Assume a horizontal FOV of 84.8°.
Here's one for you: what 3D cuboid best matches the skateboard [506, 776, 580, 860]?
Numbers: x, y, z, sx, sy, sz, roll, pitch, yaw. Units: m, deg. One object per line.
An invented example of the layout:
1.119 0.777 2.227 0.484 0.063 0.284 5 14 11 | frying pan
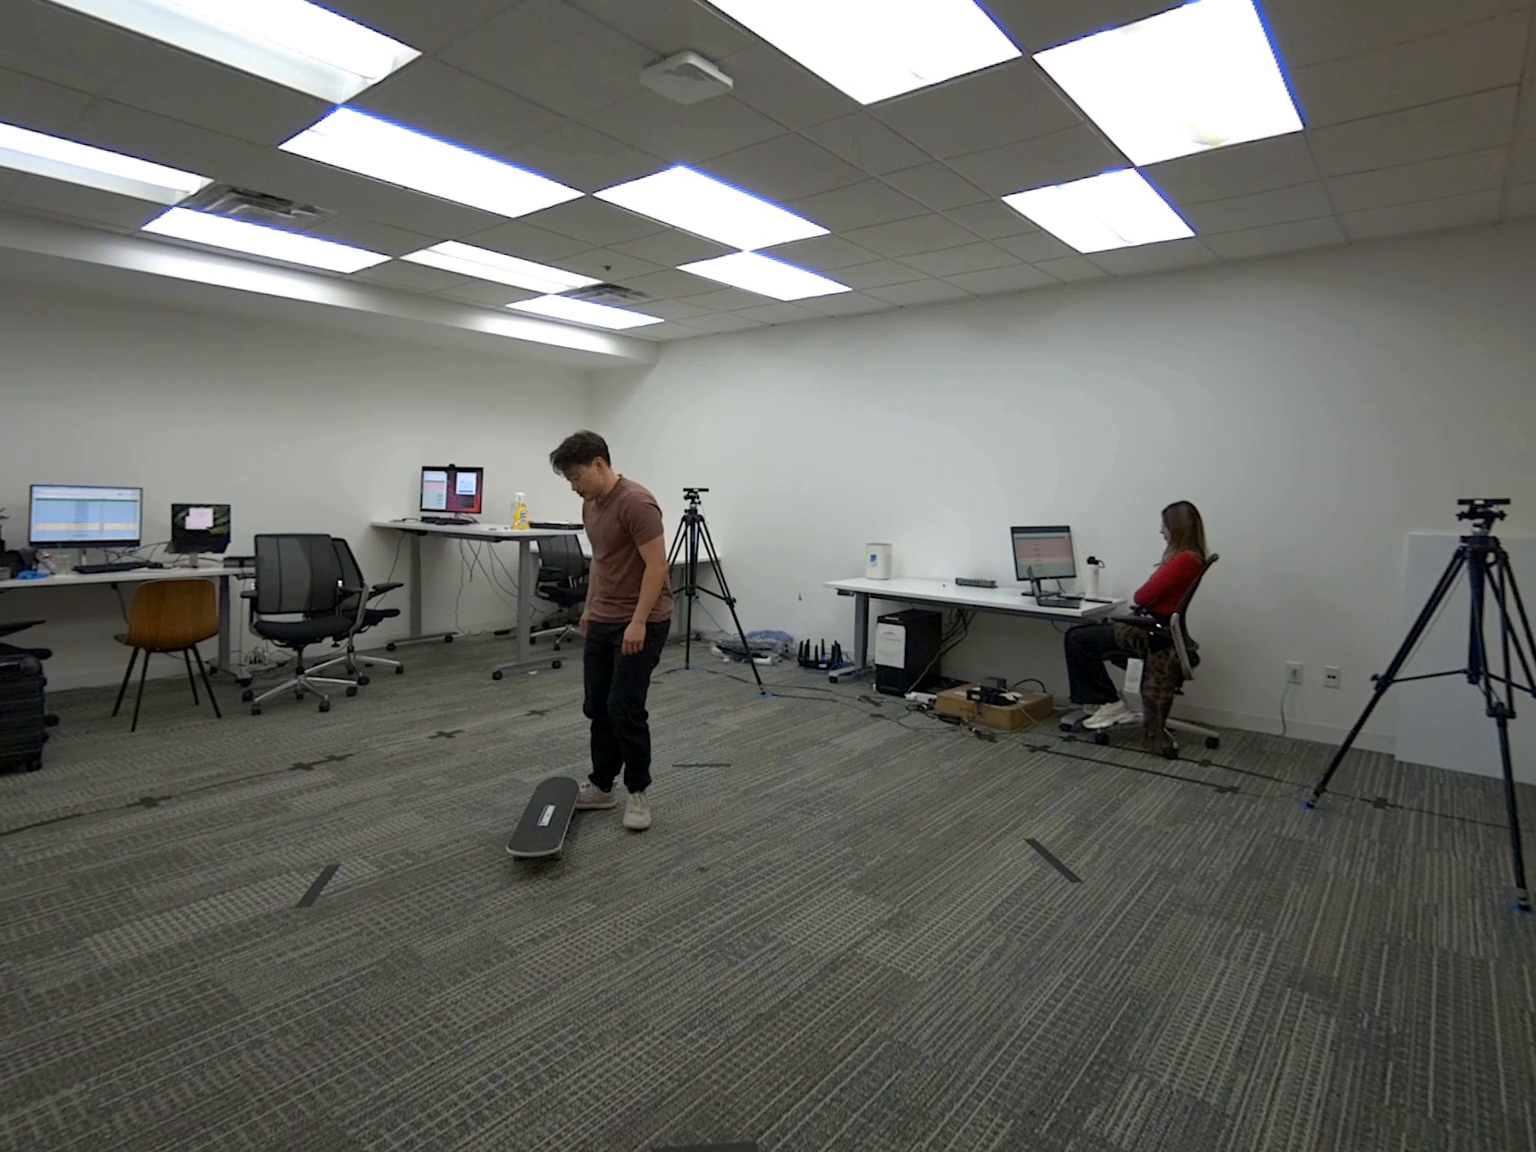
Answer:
-0.892 0.975 3.355 0.192 0.110 0.792 1 5 -6 | skateboard
